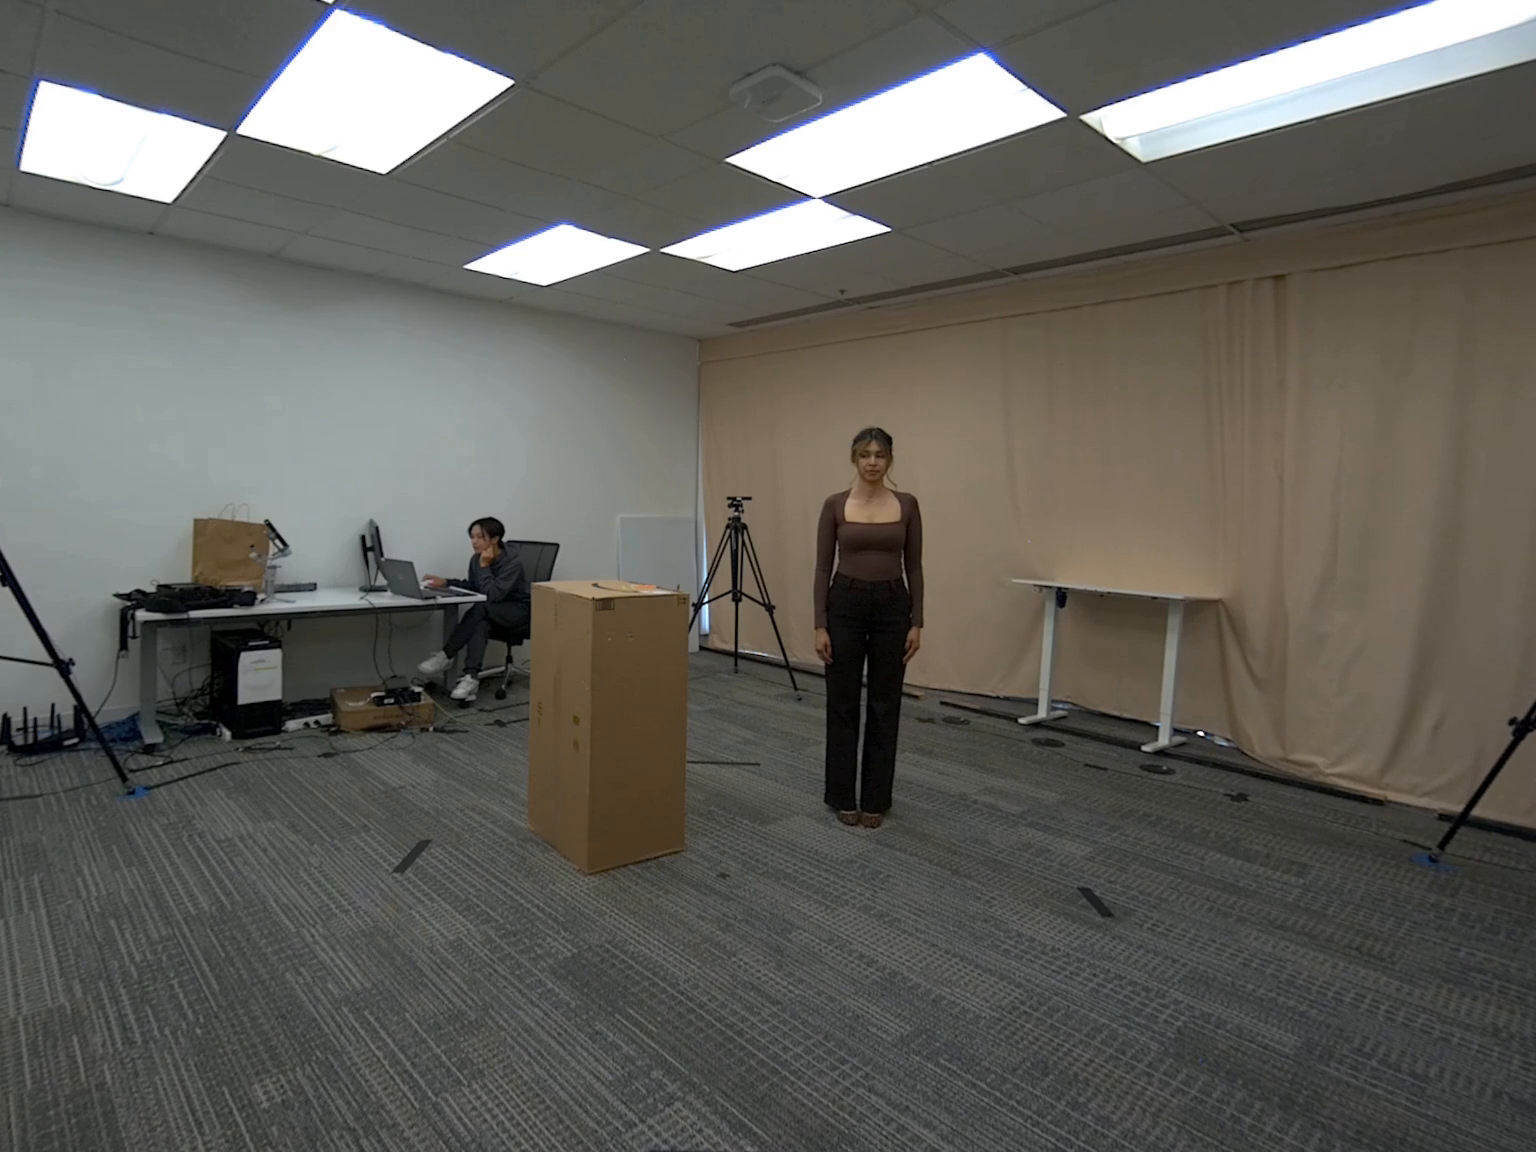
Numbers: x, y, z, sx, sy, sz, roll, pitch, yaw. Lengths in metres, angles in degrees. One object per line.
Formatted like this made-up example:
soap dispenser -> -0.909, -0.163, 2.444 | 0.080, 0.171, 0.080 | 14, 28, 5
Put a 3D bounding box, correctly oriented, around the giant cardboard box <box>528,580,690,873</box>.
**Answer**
giant cardboard box -> -0.662, 0.557, 3.406 | 0.437, 1.025, 0.598 | 0, 3, -36
